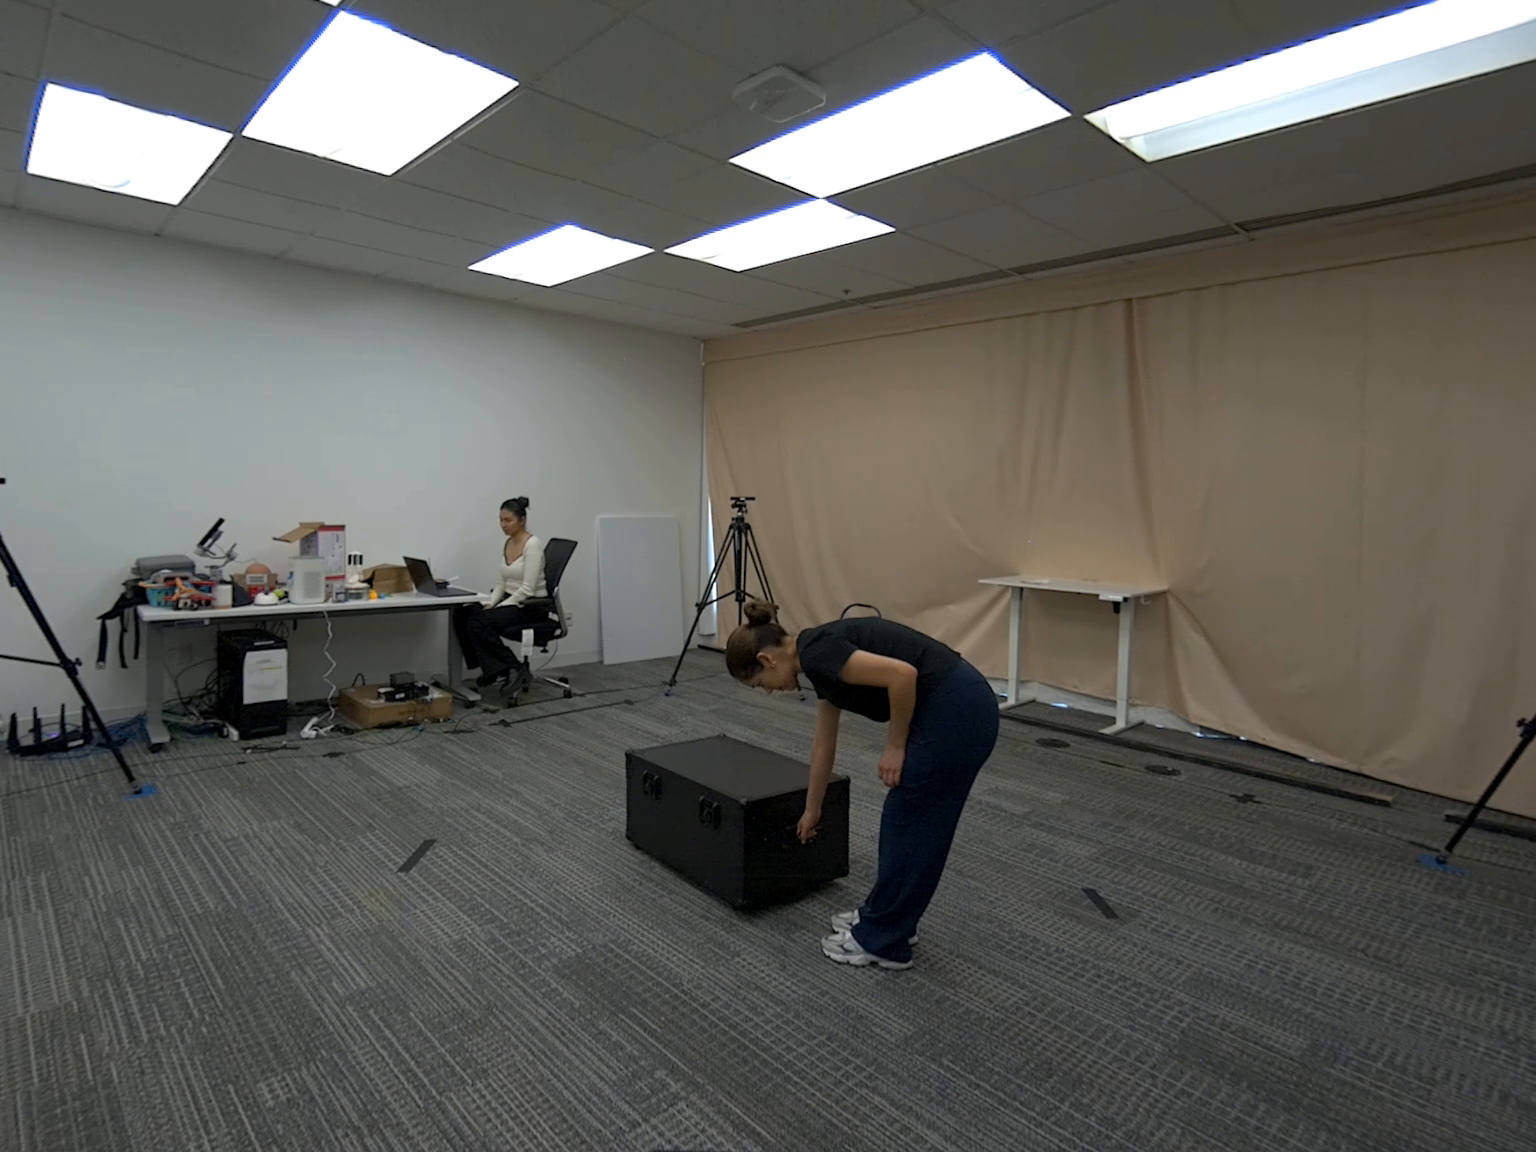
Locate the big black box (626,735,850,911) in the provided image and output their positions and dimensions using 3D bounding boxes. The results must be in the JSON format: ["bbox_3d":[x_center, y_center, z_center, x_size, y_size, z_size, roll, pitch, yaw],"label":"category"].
[{"bbox_3d":[-0.128,0.903,3.161,0.509,0.395,0.882,-2,4,-38],"label":"big black box"}]
